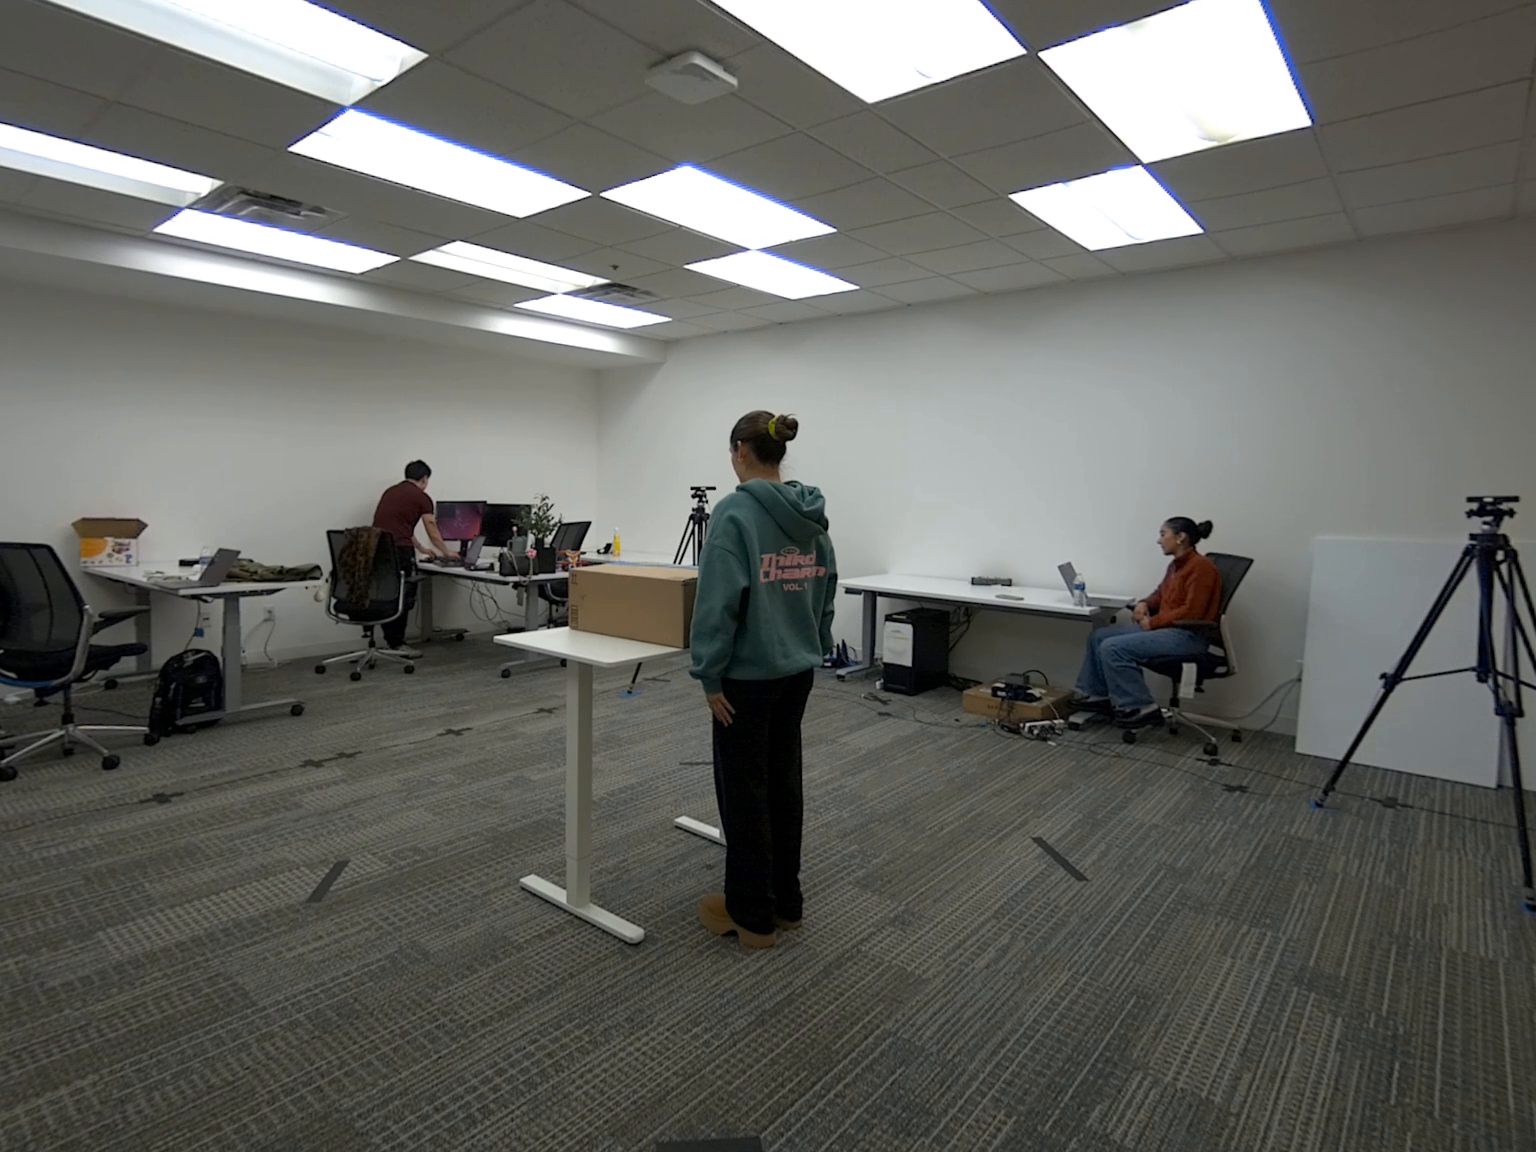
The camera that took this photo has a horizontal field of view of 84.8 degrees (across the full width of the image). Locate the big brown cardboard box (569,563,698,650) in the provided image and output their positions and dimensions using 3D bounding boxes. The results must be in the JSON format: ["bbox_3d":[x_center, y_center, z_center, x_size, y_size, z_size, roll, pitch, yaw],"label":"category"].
[{"bbox_3d":[-0.366,0.083,2.983,0.608,0.232,0.405,4,6,39],"label":"big brown cardboard box"}]
